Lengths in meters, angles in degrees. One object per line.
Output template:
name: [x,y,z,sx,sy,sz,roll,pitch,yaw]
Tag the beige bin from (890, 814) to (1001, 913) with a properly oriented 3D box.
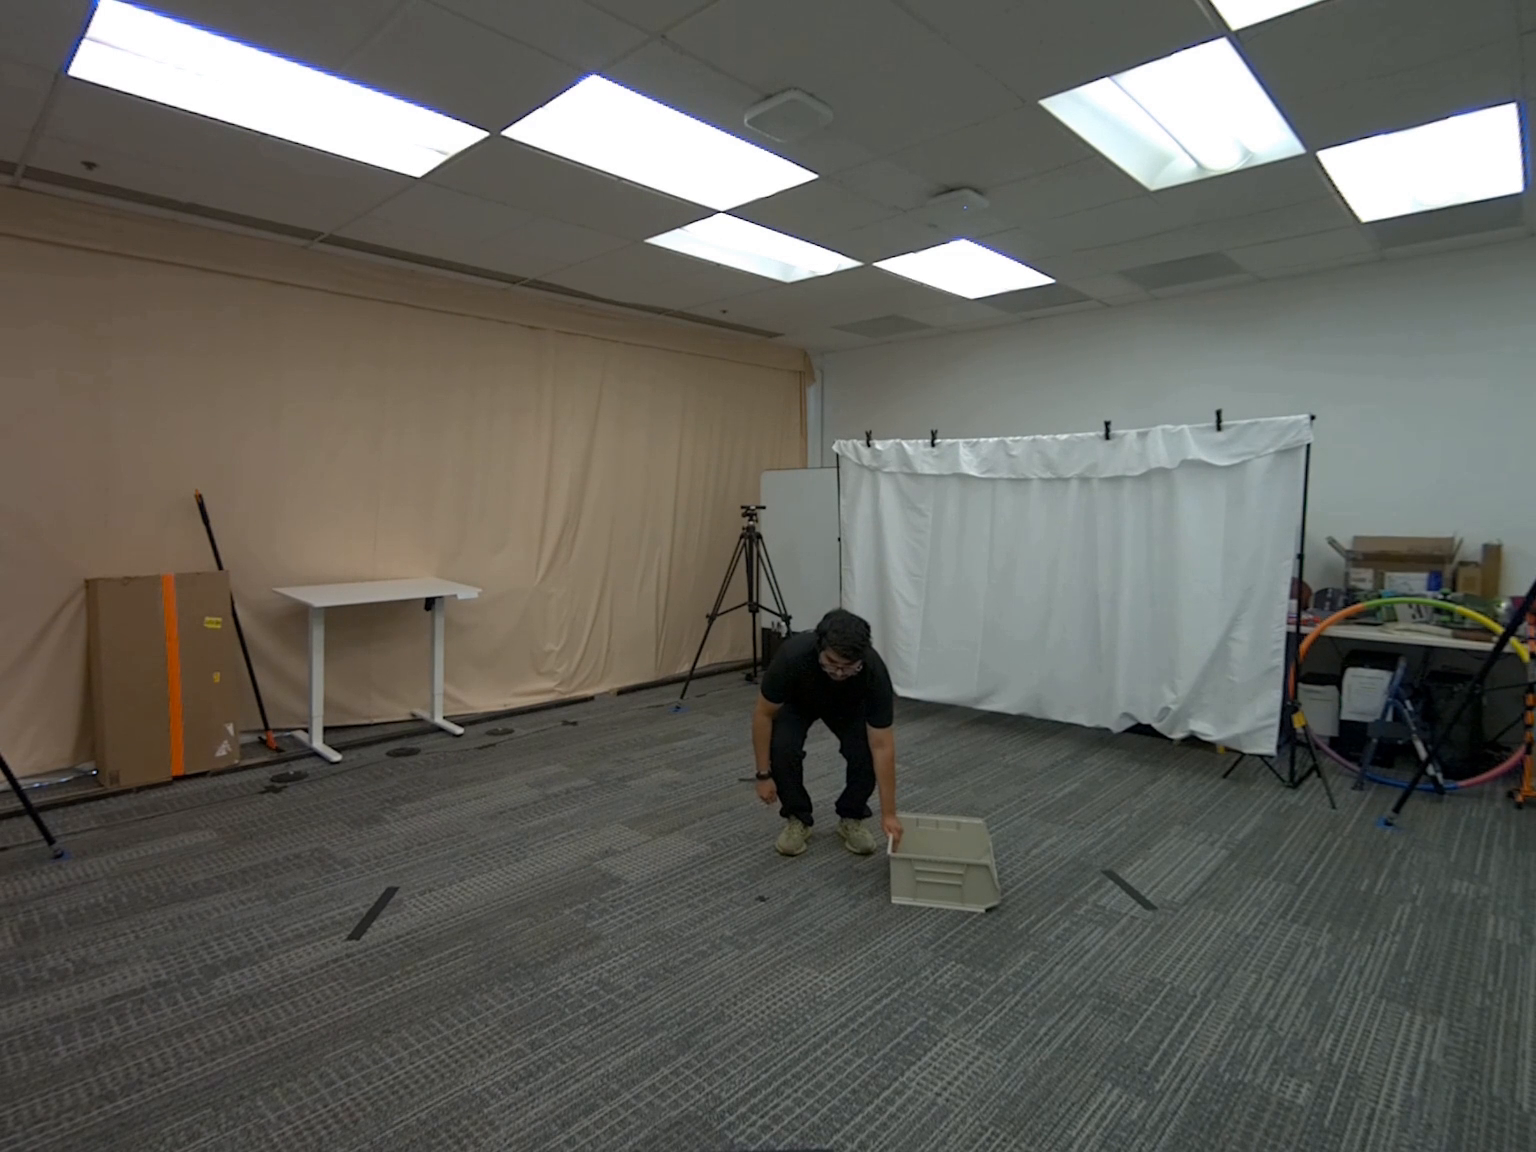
beige bin: [0.650,1.045,3.099,0.383,0.188,0.417,-1,5,12]
